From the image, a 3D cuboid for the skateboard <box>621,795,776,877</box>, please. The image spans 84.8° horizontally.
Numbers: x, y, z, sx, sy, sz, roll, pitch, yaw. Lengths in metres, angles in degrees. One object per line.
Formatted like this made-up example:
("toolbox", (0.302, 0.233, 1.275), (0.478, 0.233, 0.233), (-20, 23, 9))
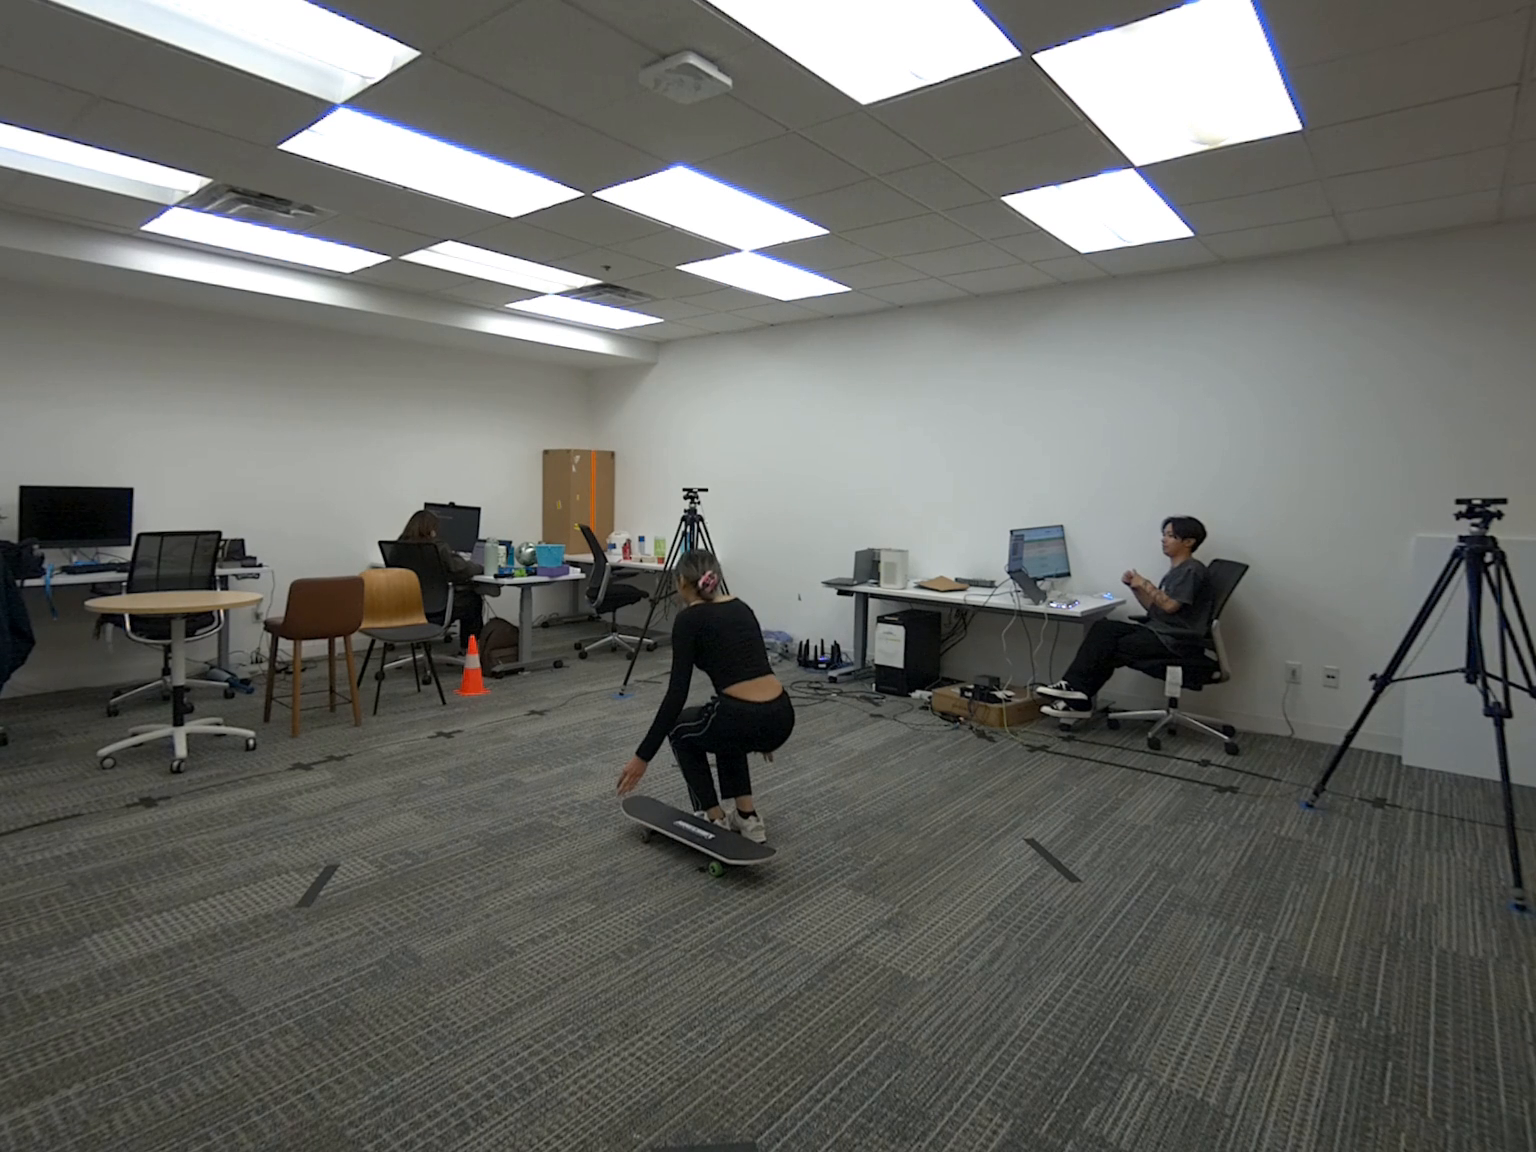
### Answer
("skateboard", (-0.299, 0.997, 3.251), (0.813, 0.110, 0.188), (7, 8, 44))
